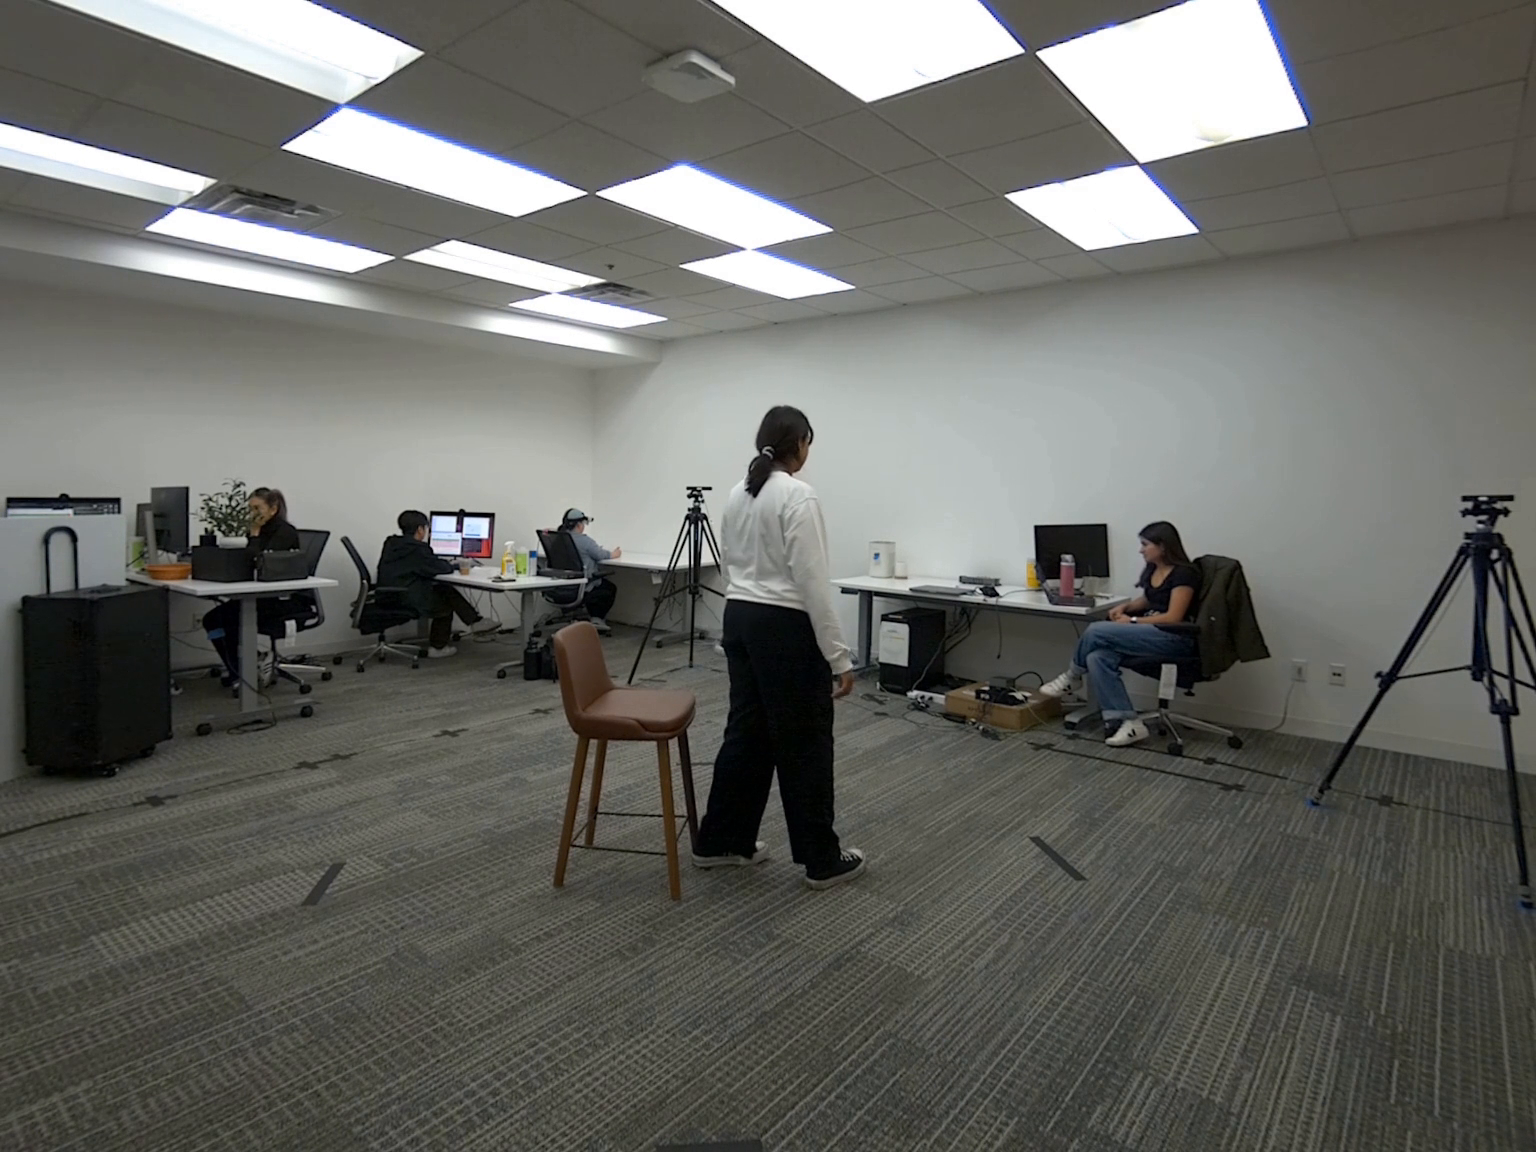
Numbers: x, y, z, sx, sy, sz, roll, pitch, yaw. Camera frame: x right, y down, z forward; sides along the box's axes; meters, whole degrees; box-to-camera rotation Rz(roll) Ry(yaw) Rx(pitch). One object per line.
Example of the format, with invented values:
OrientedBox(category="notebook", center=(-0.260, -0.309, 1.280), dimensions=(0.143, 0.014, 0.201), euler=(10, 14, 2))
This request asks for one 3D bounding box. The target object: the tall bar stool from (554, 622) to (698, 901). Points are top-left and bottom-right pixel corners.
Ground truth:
OrientedBox(category="tall bar stool", center=(-0.504, 0.630, 3.071), dimensions=(0.472, 0.887, 0.453), euler=(0, 3, 8))
